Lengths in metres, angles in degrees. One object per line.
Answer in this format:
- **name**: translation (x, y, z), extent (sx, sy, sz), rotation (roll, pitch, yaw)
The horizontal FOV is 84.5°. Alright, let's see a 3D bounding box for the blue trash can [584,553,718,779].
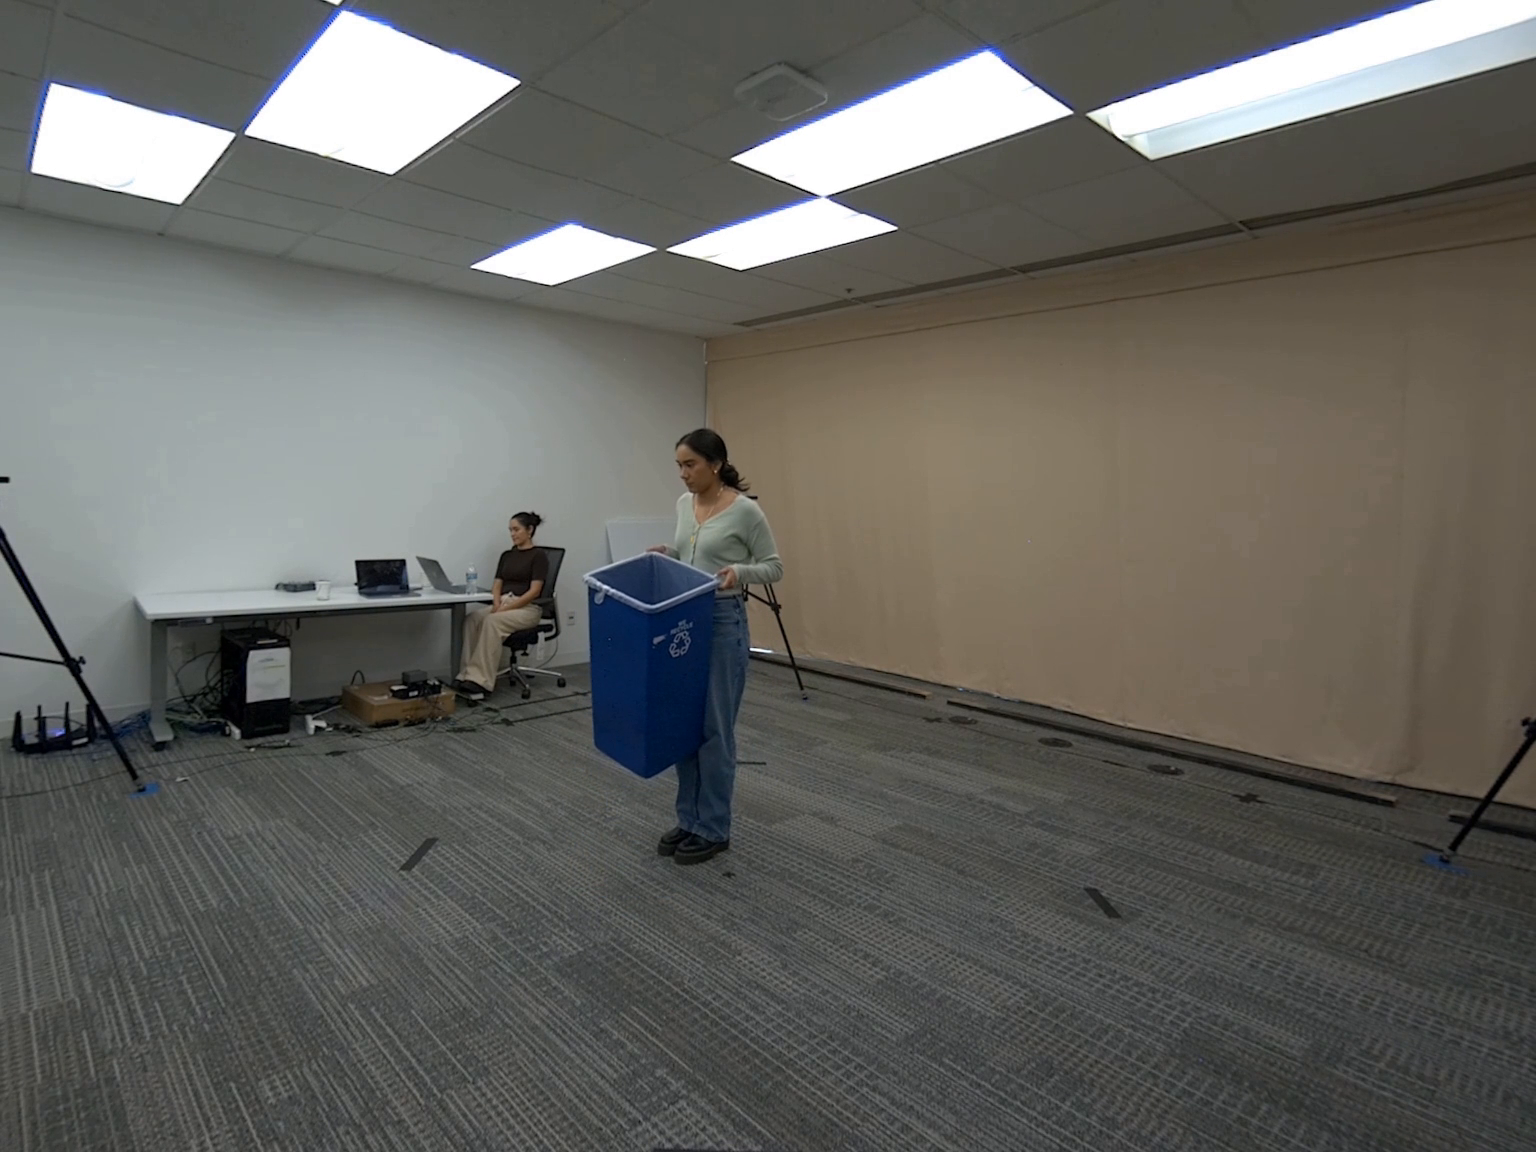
- **blue trash can**: translation (-0.445, 0.331, 3.124), extent (0.389, 0.704, 0.368), rotation (21, 27, 35)
